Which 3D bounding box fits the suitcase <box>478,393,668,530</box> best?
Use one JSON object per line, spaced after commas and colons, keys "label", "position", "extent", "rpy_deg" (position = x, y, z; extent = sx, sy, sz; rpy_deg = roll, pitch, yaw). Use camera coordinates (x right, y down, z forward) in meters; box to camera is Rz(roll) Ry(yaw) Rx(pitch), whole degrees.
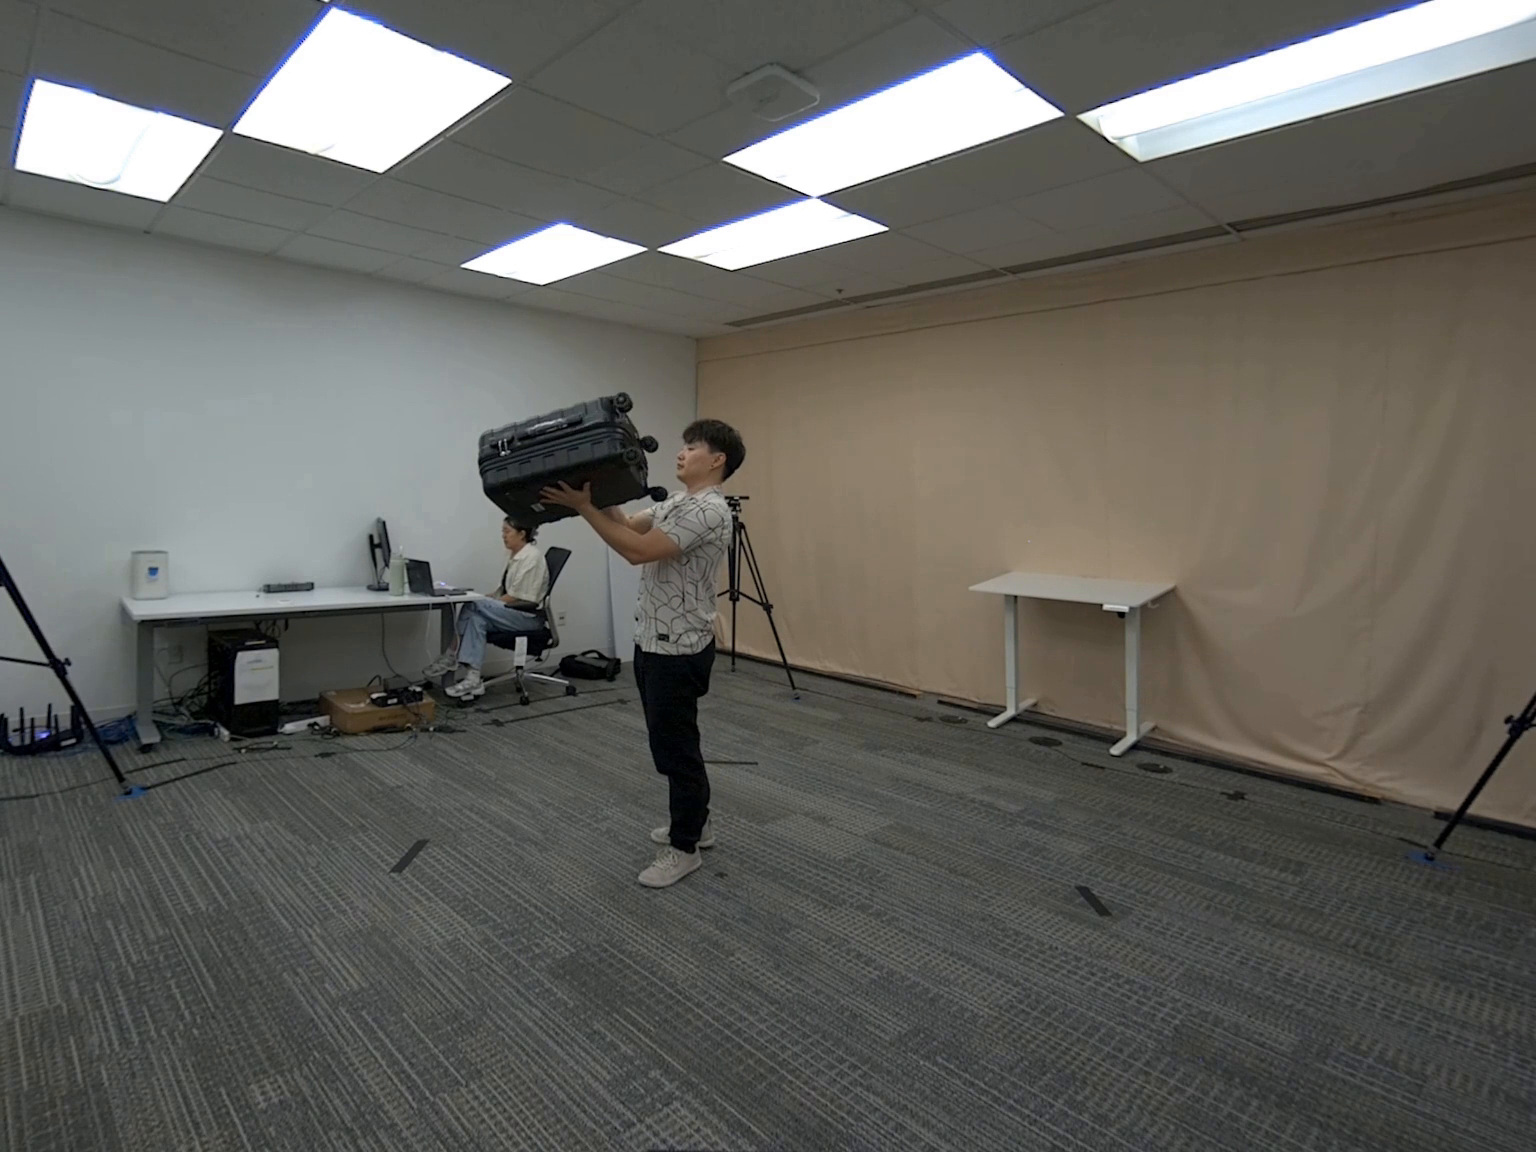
{"label": "suitcase", "position": [-0.669, -0.376, 2.798], "extent": [0.551, 0.253, 0.367], "rpy_deg": [-12, -21, 5]}
